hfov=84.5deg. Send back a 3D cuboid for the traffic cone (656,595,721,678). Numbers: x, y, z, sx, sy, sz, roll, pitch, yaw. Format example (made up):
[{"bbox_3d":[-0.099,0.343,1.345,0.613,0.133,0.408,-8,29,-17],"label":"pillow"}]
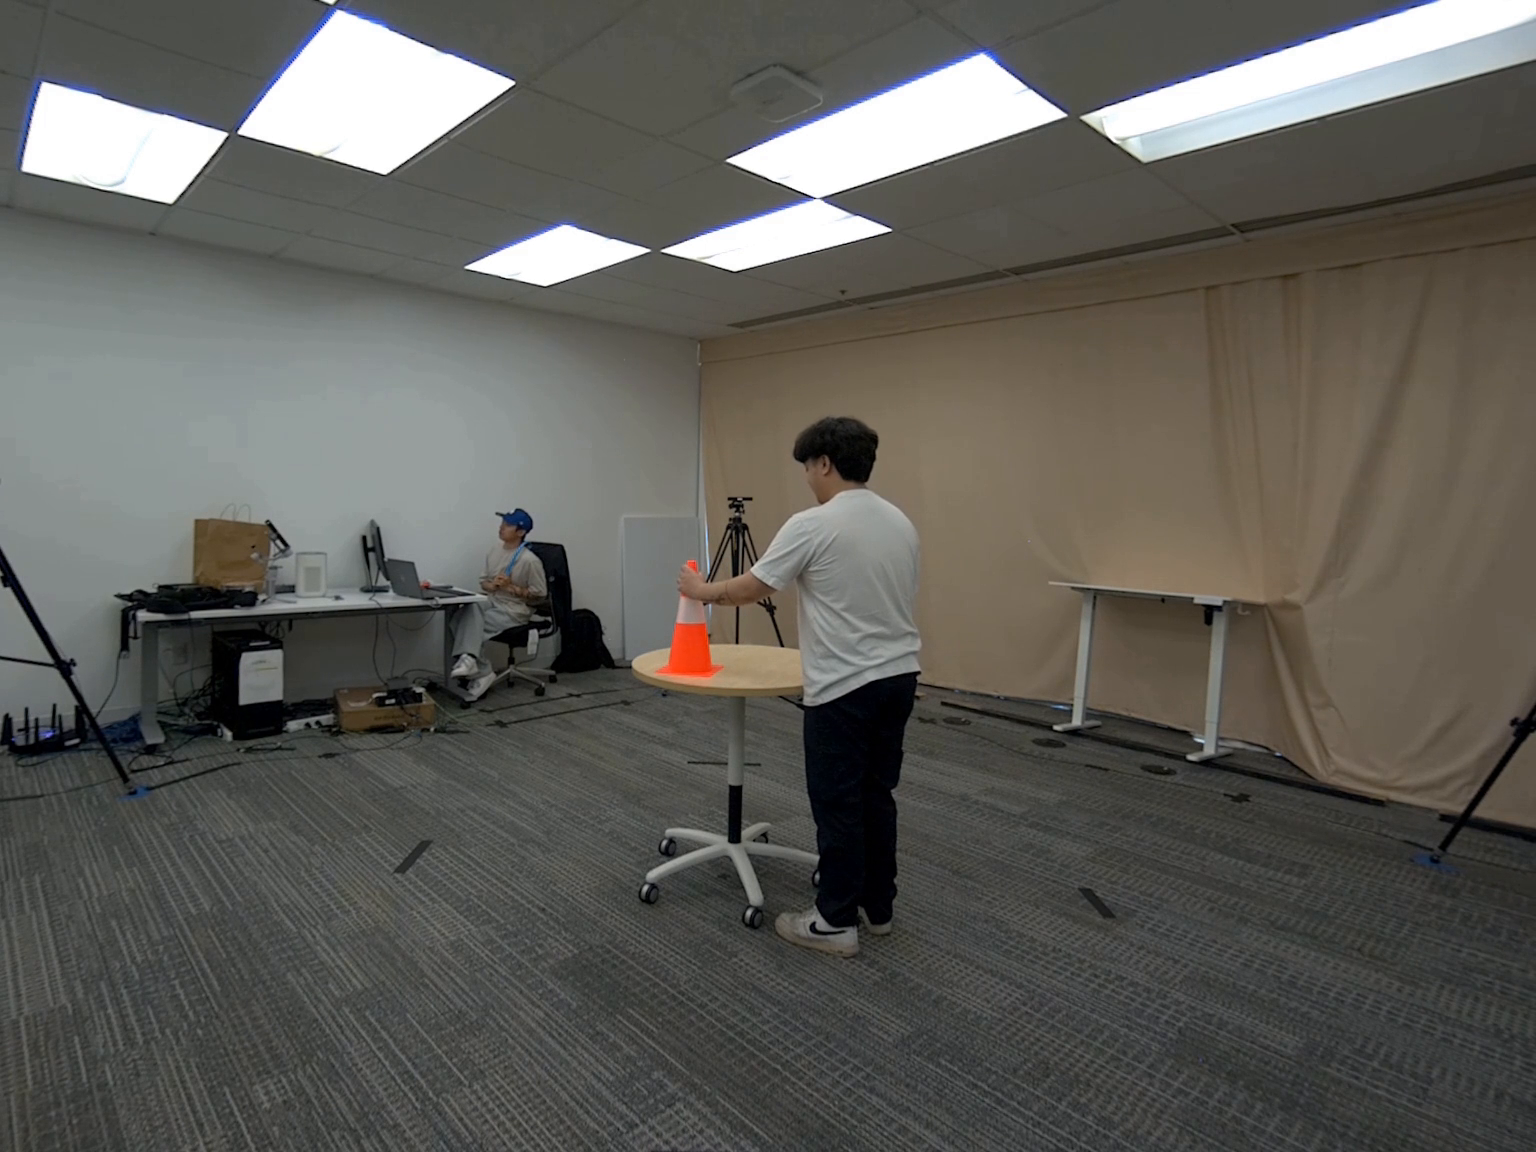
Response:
[{"bbox_3d":[-0.268,0.140,2.905,0.206,0.383,0.203,3,3,15],"label":"traffic cone"}]
